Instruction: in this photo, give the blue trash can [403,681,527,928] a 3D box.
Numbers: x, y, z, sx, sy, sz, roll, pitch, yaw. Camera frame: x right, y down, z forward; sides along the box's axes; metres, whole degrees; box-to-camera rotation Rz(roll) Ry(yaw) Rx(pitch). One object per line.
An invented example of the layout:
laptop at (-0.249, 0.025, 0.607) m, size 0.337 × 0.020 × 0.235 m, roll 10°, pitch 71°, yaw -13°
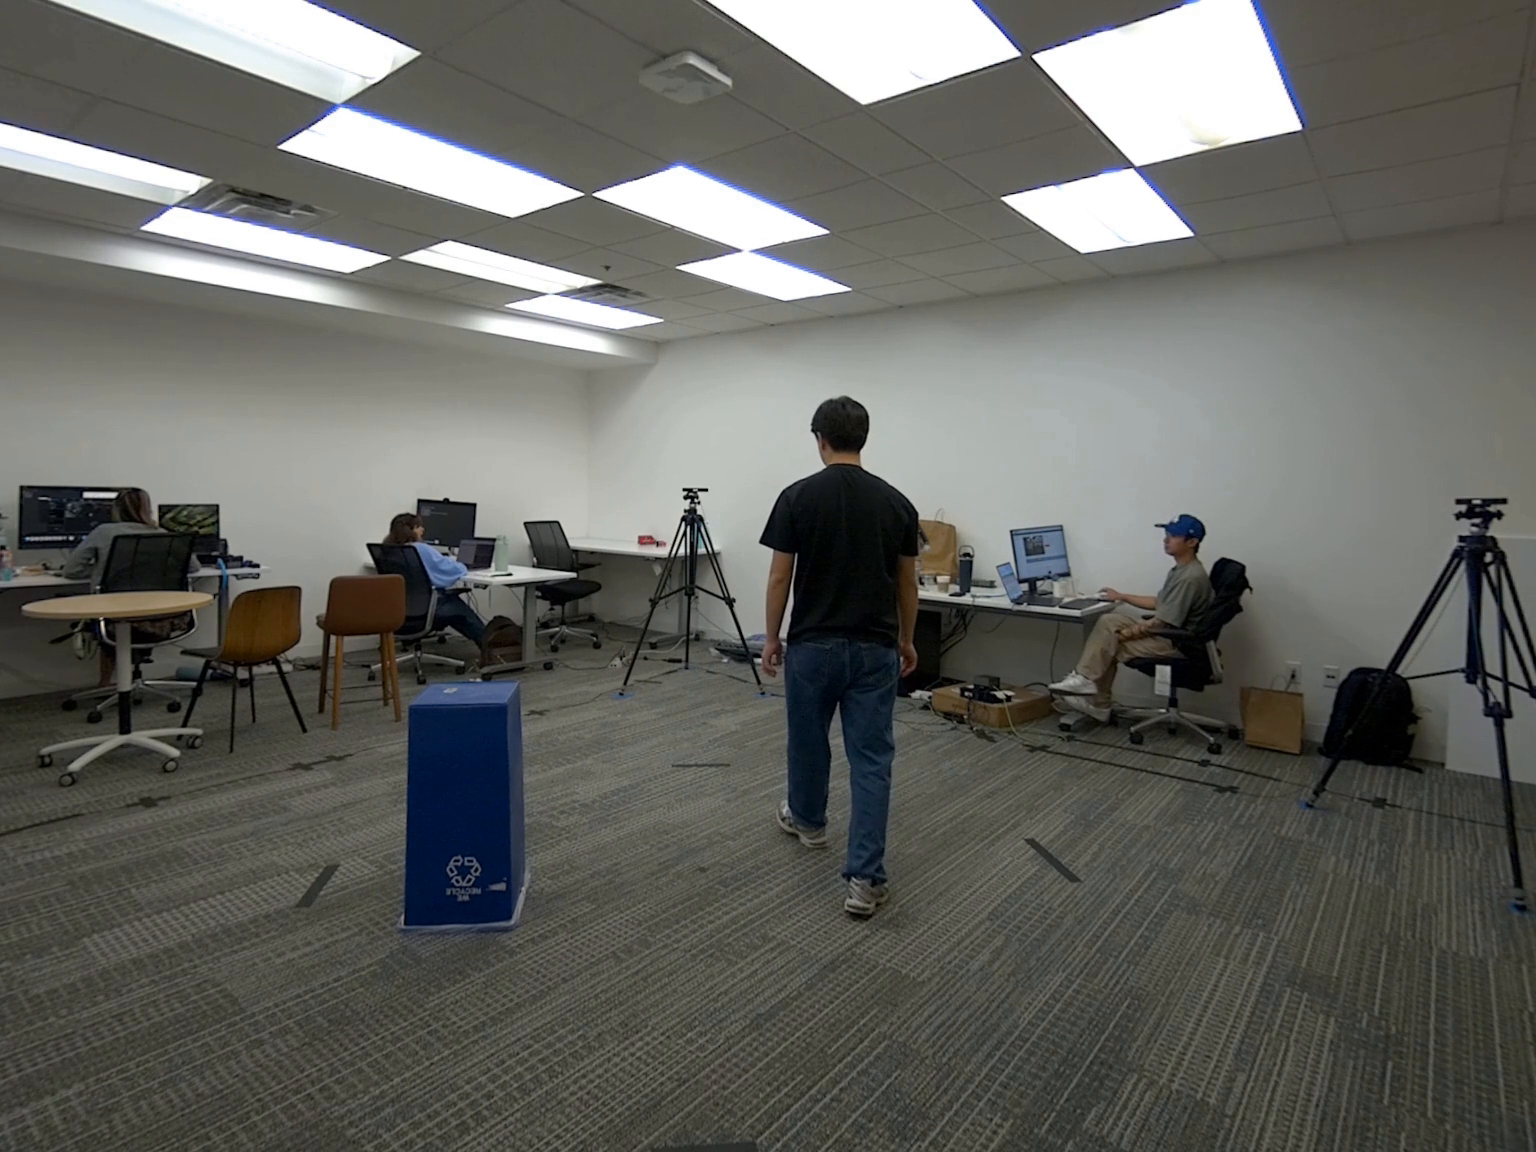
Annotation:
blue trash can at (-1.008, 0.737, 2.808) m, size 0.372 × 0.711 × 0.382 m, roll -1°, pitch 4°, yaw -7°
